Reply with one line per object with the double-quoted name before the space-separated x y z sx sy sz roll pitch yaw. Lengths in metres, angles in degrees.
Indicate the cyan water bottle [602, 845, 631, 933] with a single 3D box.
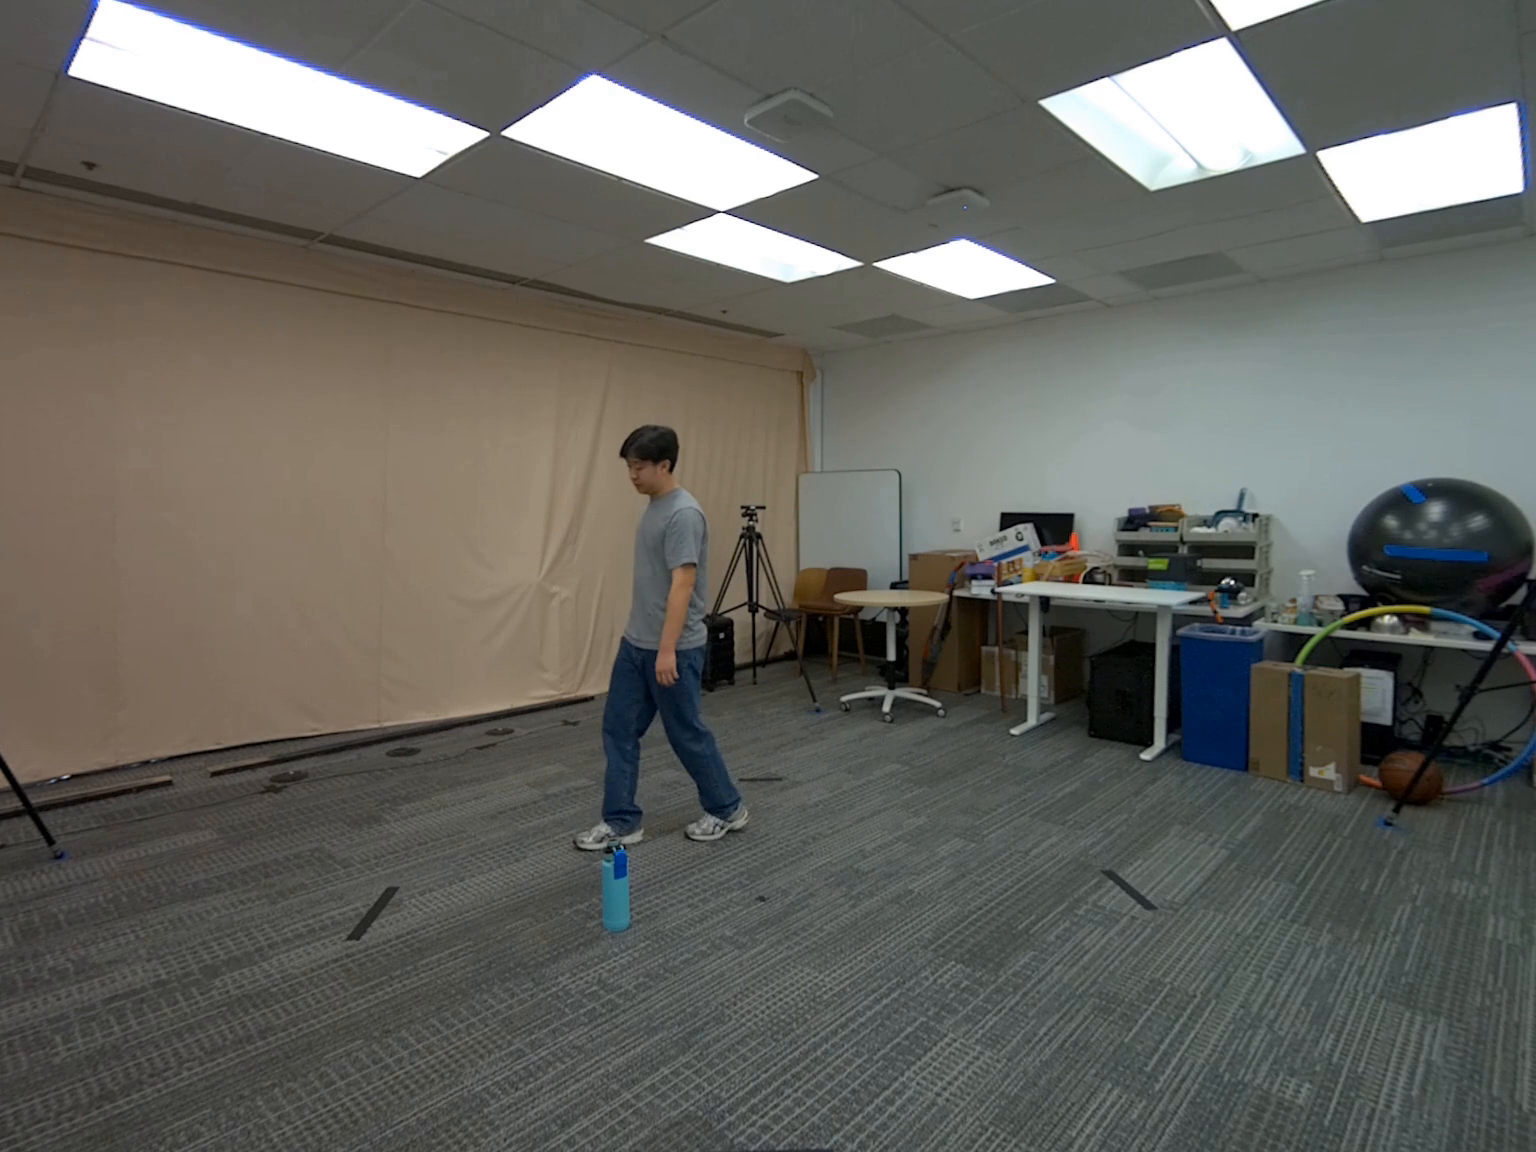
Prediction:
"cyan water bottle" -0.506 1.023 2.791 0.092 0.283 0.092 0 3 -2
